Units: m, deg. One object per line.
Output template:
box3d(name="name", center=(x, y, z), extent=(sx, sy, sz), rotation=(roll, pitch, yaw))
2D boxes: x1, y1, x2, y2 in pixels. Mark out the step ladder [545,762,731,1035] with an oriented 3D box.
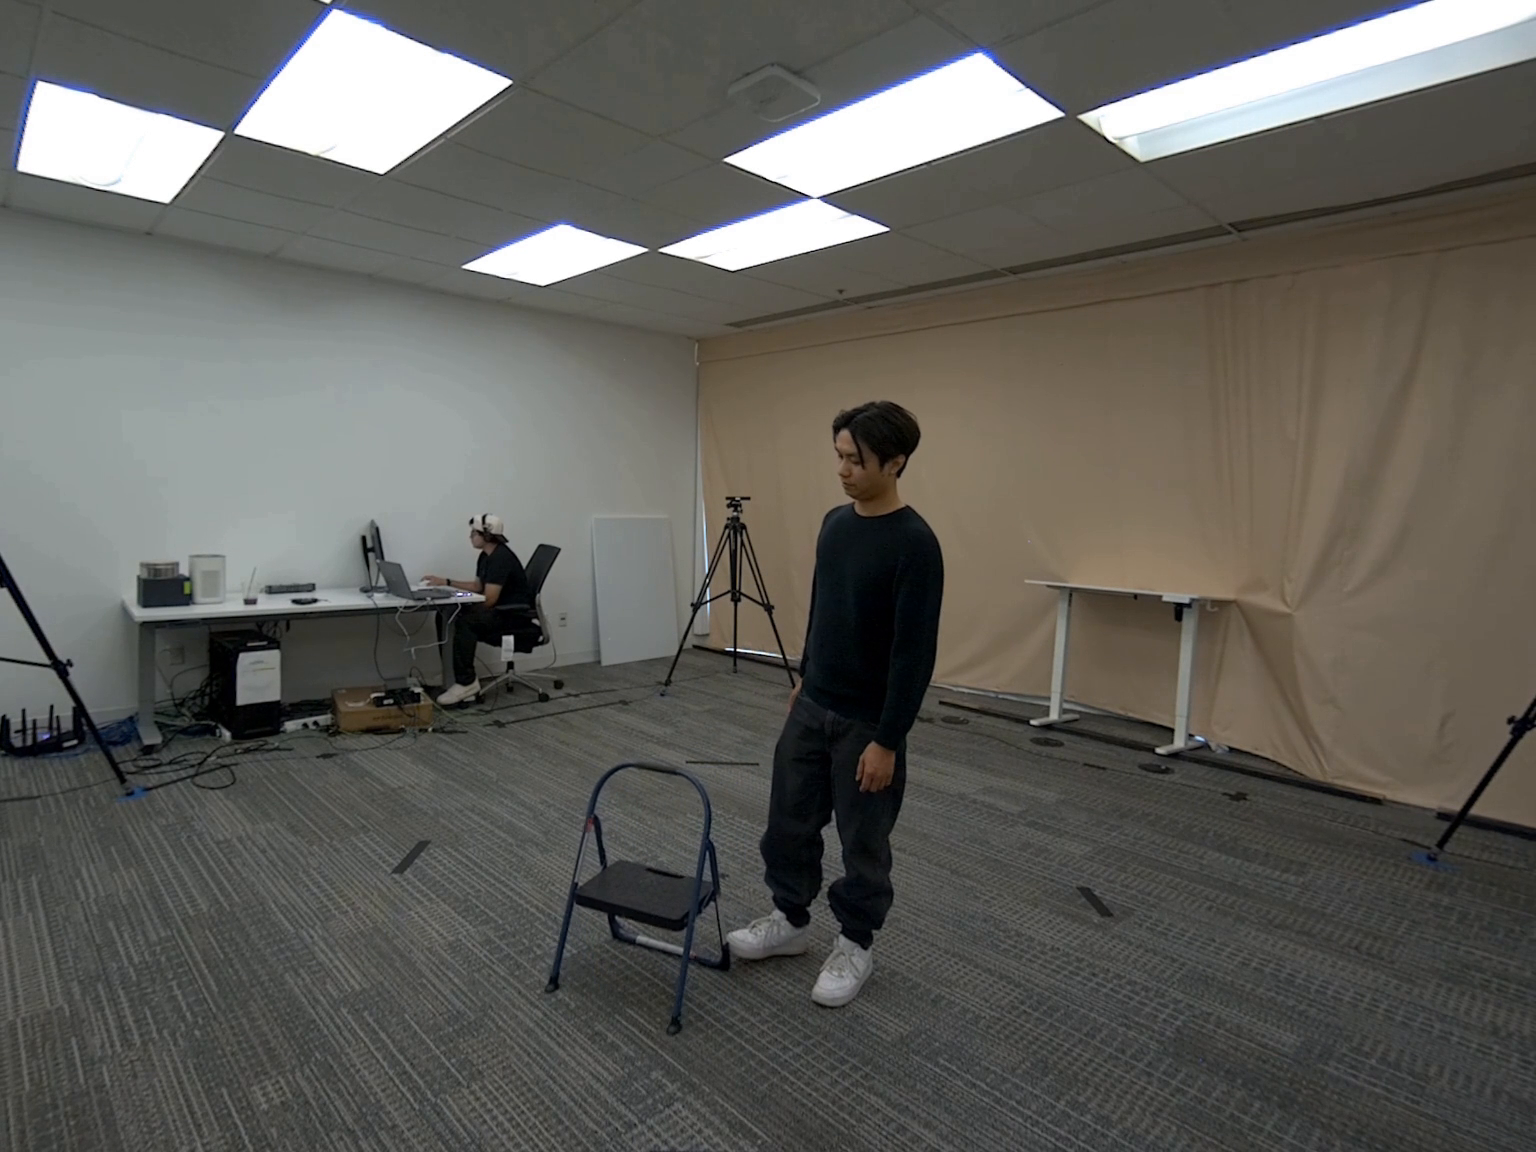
box3d(name="step ladder", center=(-0.358, 0.859, 2.408), extent=(0.439, 0.604, 0.344), rotation=(4, 5, 24))
